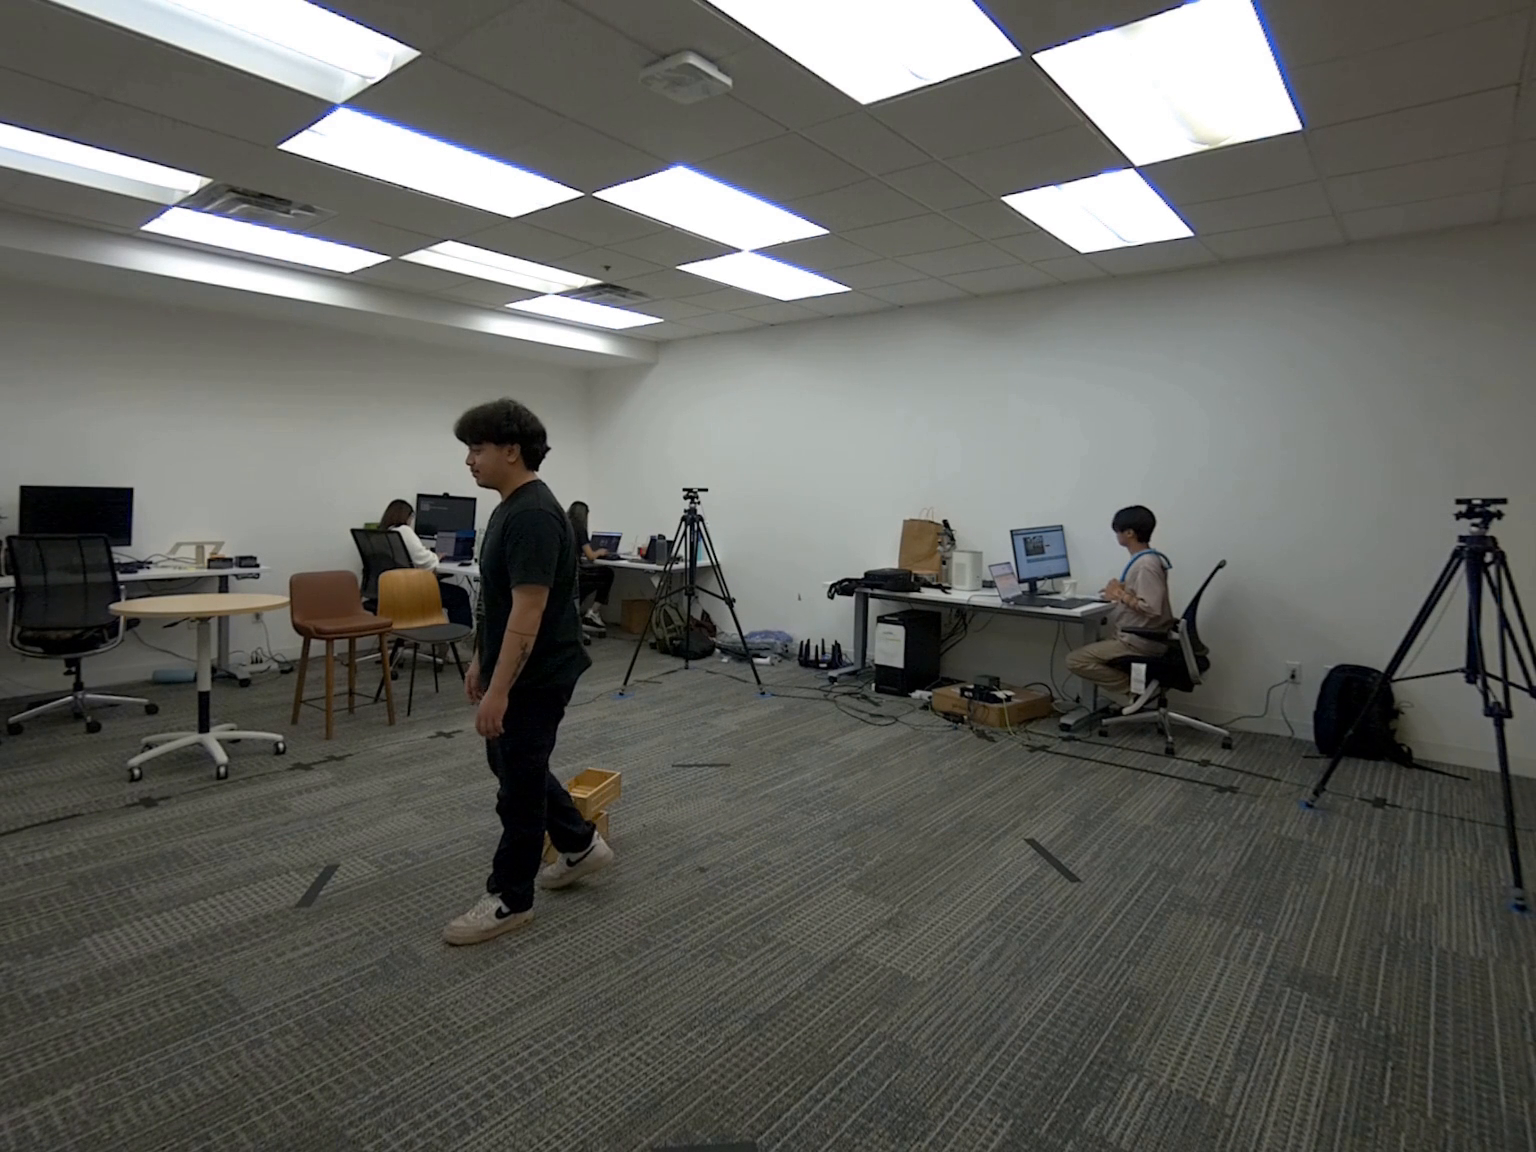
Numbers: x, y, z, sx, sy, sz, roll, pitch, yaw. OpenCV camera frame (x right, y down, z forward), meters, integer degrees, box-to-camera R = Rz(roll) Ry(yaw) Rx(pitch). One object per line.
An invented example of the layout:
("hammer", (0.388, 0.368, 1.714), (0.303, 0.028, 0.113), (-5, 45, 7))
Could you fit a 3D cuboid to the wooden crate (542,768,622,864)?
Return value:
("wooden crate", (-0.786, 0.908, 3.286), (0.308, 0.272, 0.319), (3, 5, 16))
